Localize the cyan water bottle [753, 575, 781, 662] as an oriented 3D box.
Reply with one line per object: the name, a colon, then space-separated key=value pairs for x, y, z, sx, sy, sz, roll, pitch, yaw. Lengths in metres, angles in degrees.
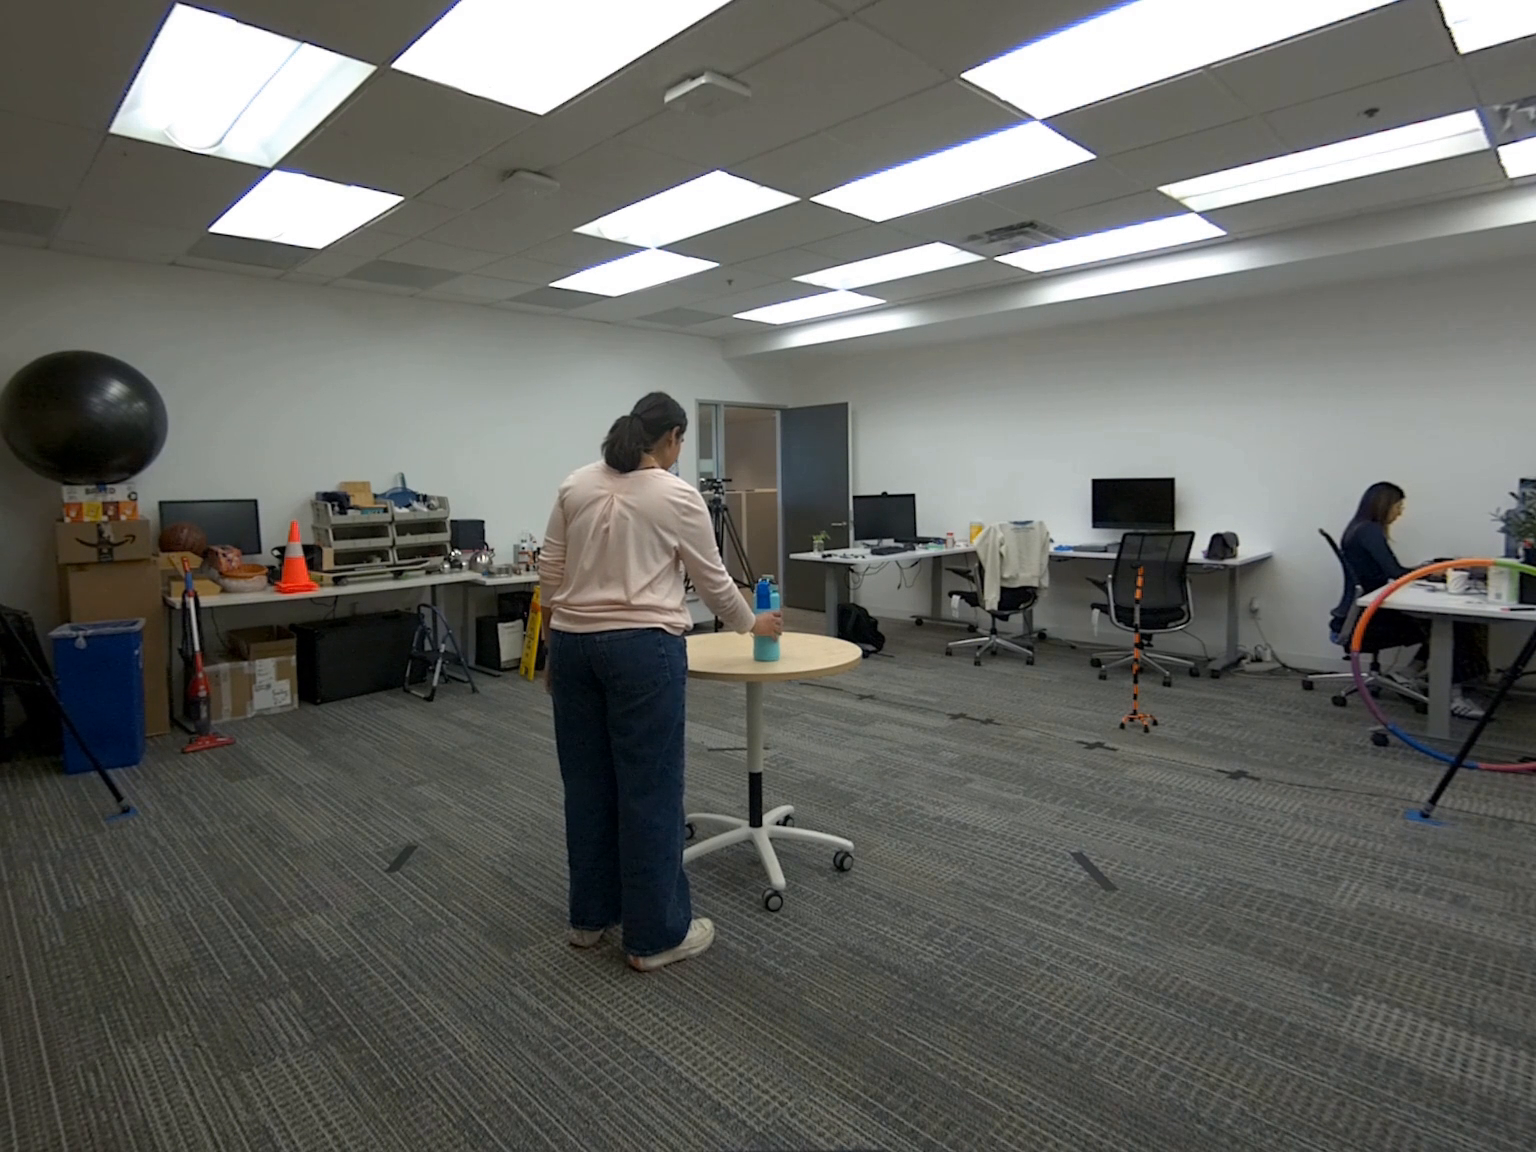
cyan water bottle: x=-0.002 y=0.142 z=2.891 sx=0.092 sy=0.283 sz=0.092 roll=0 pitch=3 yaw=-2
